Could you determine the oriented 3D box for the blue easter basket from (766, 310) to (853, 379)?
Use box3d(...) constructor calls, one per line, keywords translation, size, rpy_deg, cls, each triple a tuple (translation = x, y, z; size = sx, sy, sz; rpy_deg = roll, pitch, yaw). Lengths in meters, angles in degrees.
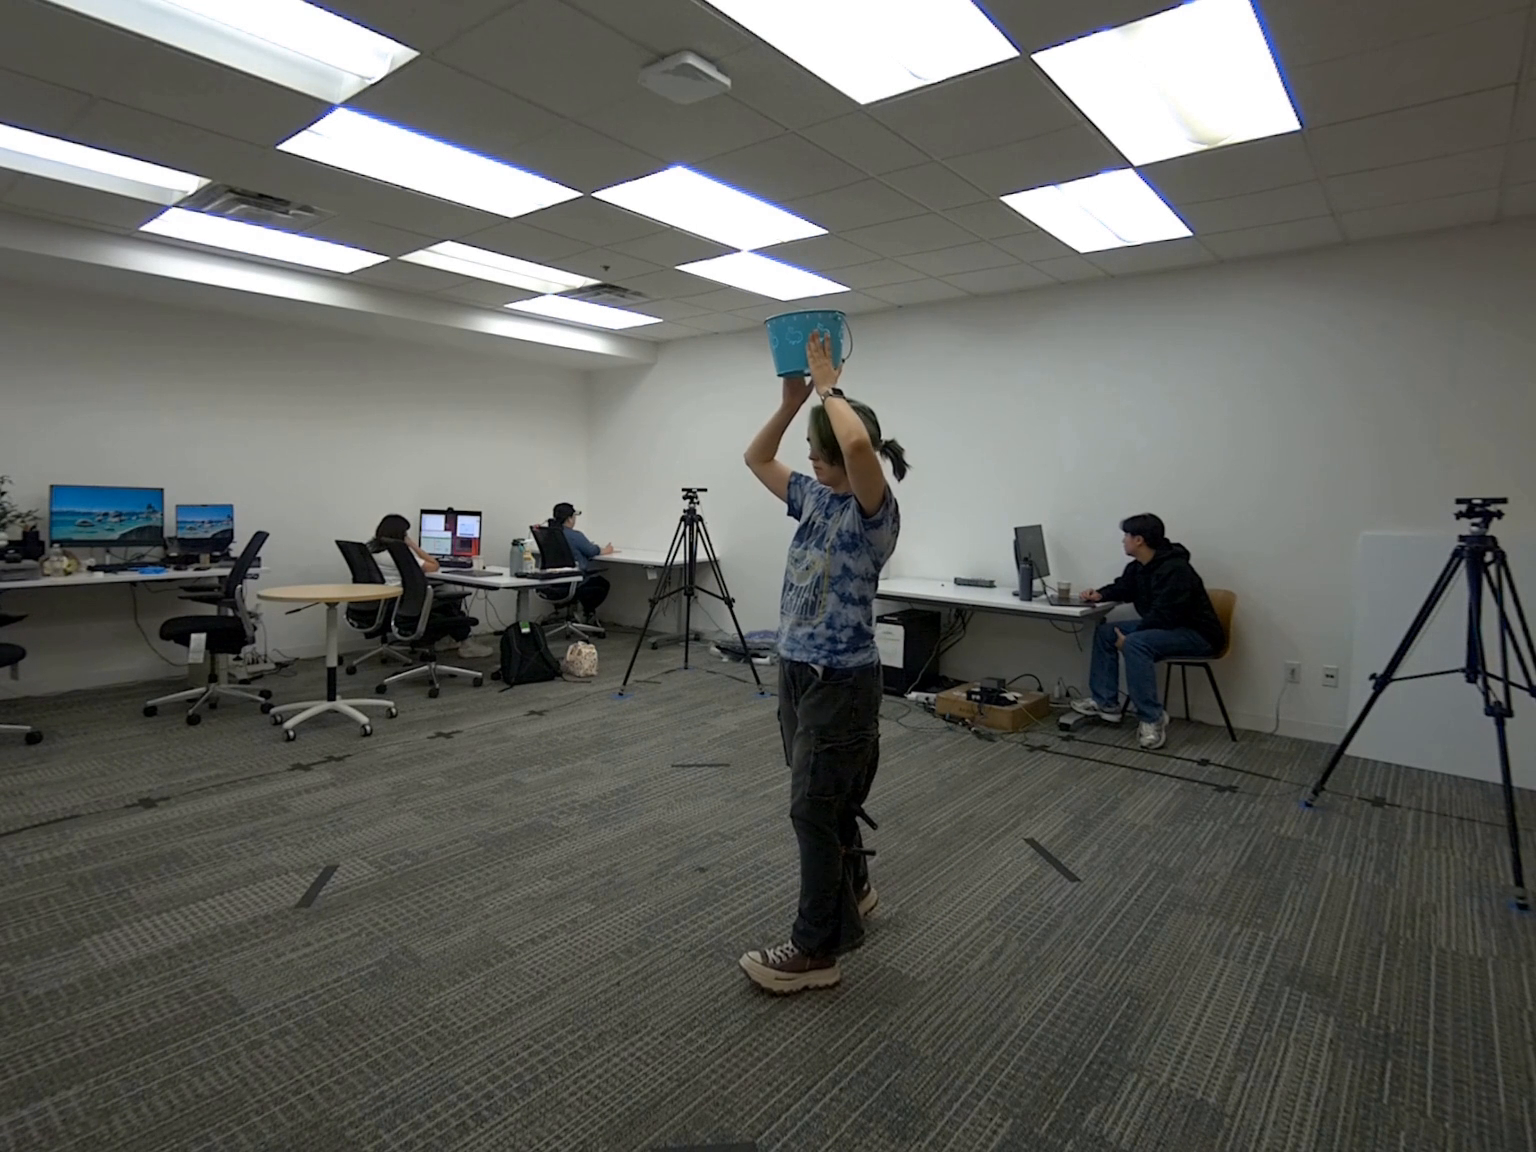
box3d(translation=(0.109, -0.646, 2.367), size=(0.243, 0.155, 0.245), rpy_deg=(-5, 8, -1), cls="blue easter basket")
